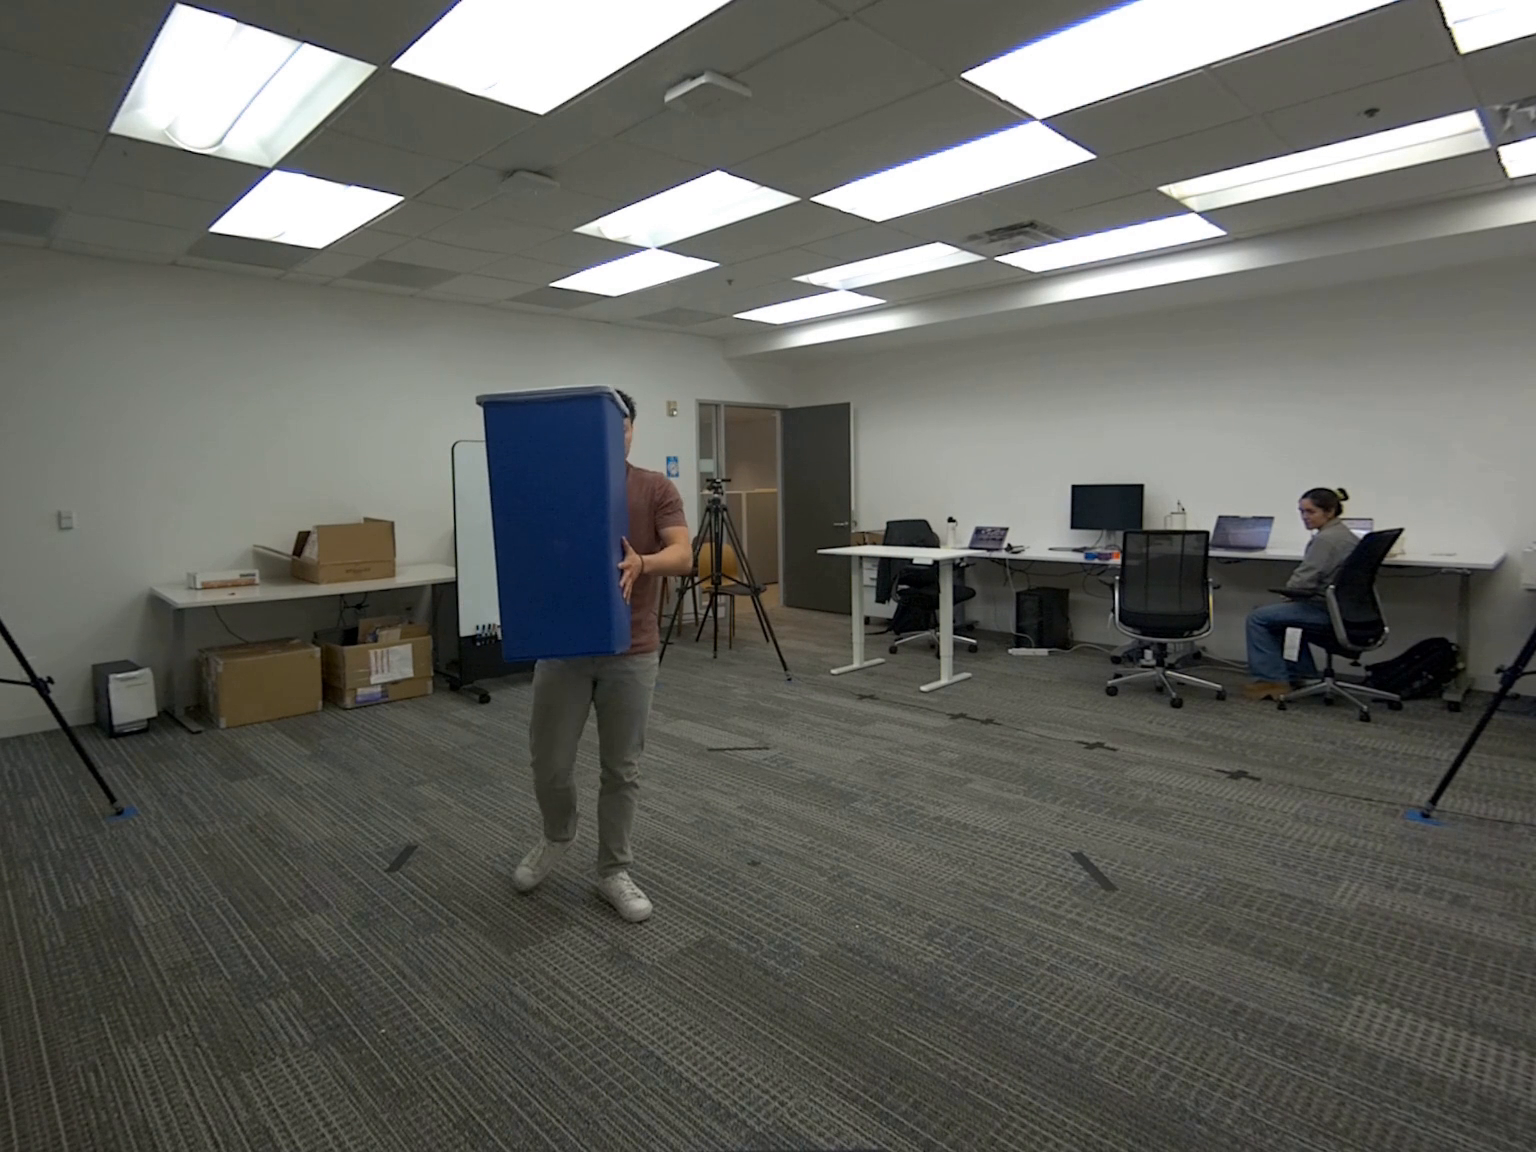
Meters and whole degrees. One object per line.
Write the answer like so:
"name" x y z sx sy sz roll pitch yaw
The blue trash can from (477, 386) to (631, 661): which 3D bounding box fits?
"blue trash can" -0.577 -0.139 2.393 0.378 0.717 0.372 -4 -4 -1
